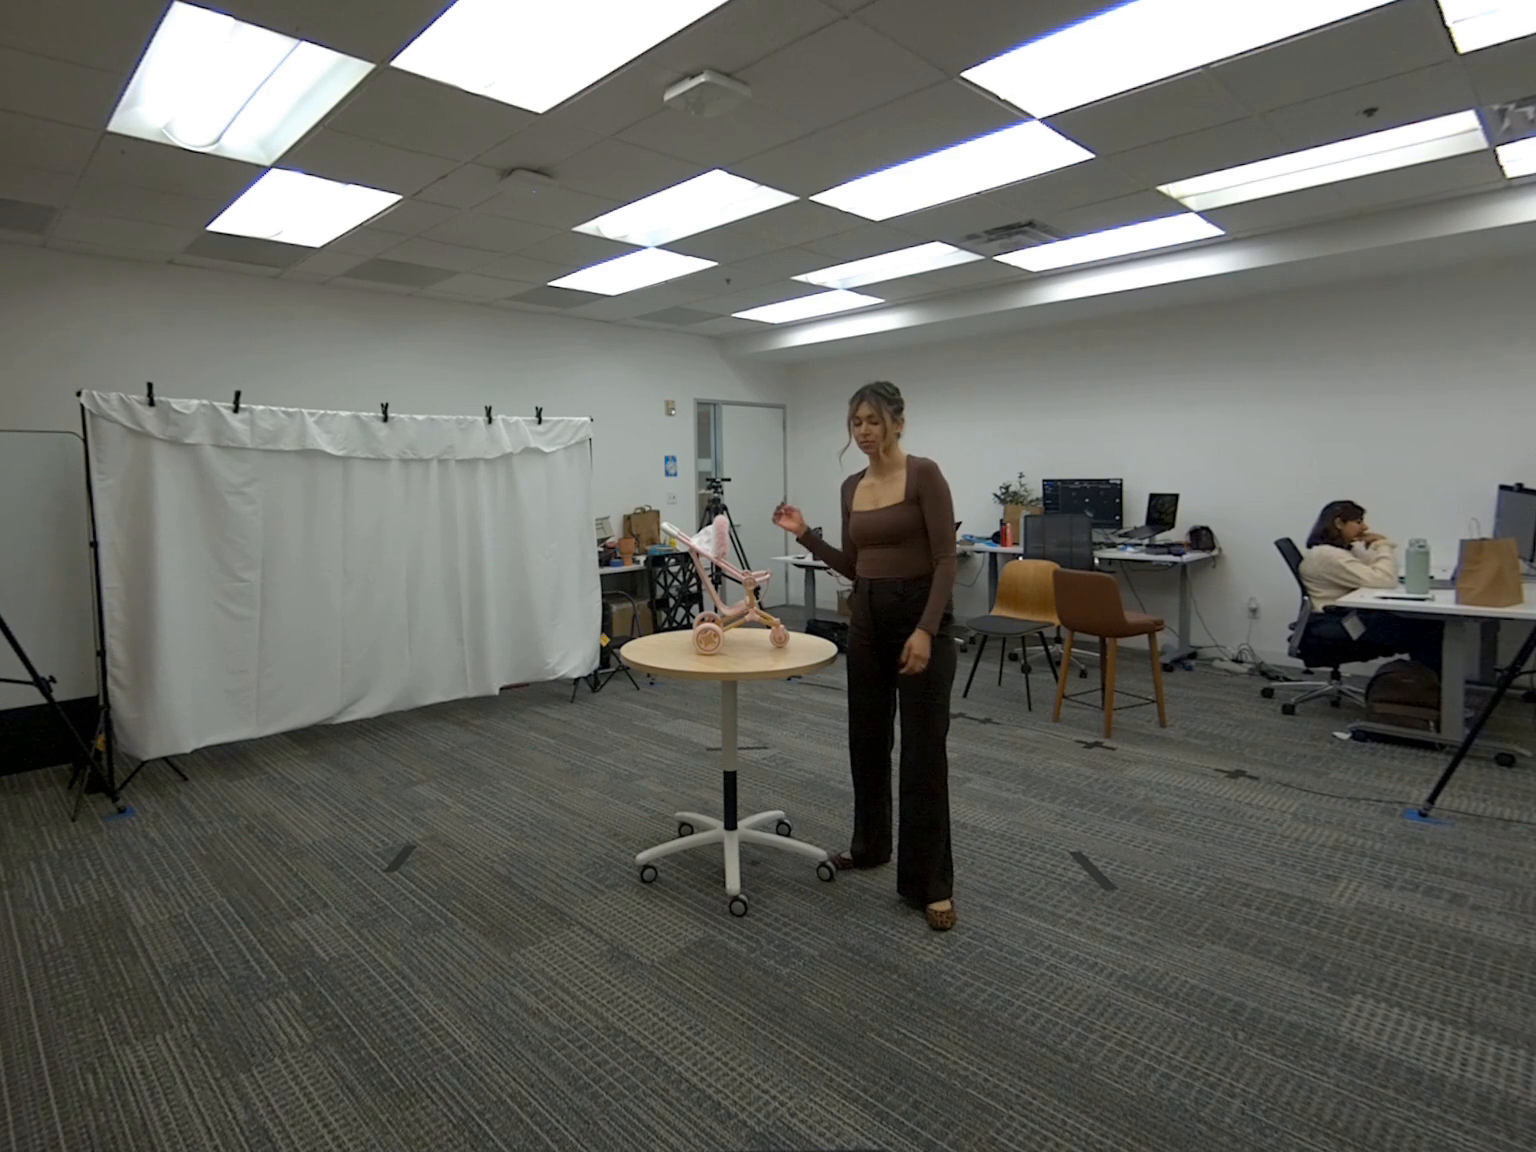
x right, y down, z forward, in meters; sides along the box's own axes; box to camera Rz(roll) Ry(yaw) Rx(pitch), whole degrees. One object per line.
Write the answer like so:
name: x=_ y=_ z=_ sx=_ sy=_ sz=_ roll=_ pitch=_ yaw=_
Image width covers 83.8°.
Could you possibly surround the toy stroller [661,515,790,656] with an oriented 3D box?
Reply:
toy stroller: x=-0.138 y=0.028 z=3.012 sx=0.342 sy=0.533 sz=0.282 roll=-15 pitch=3 yaw=3
